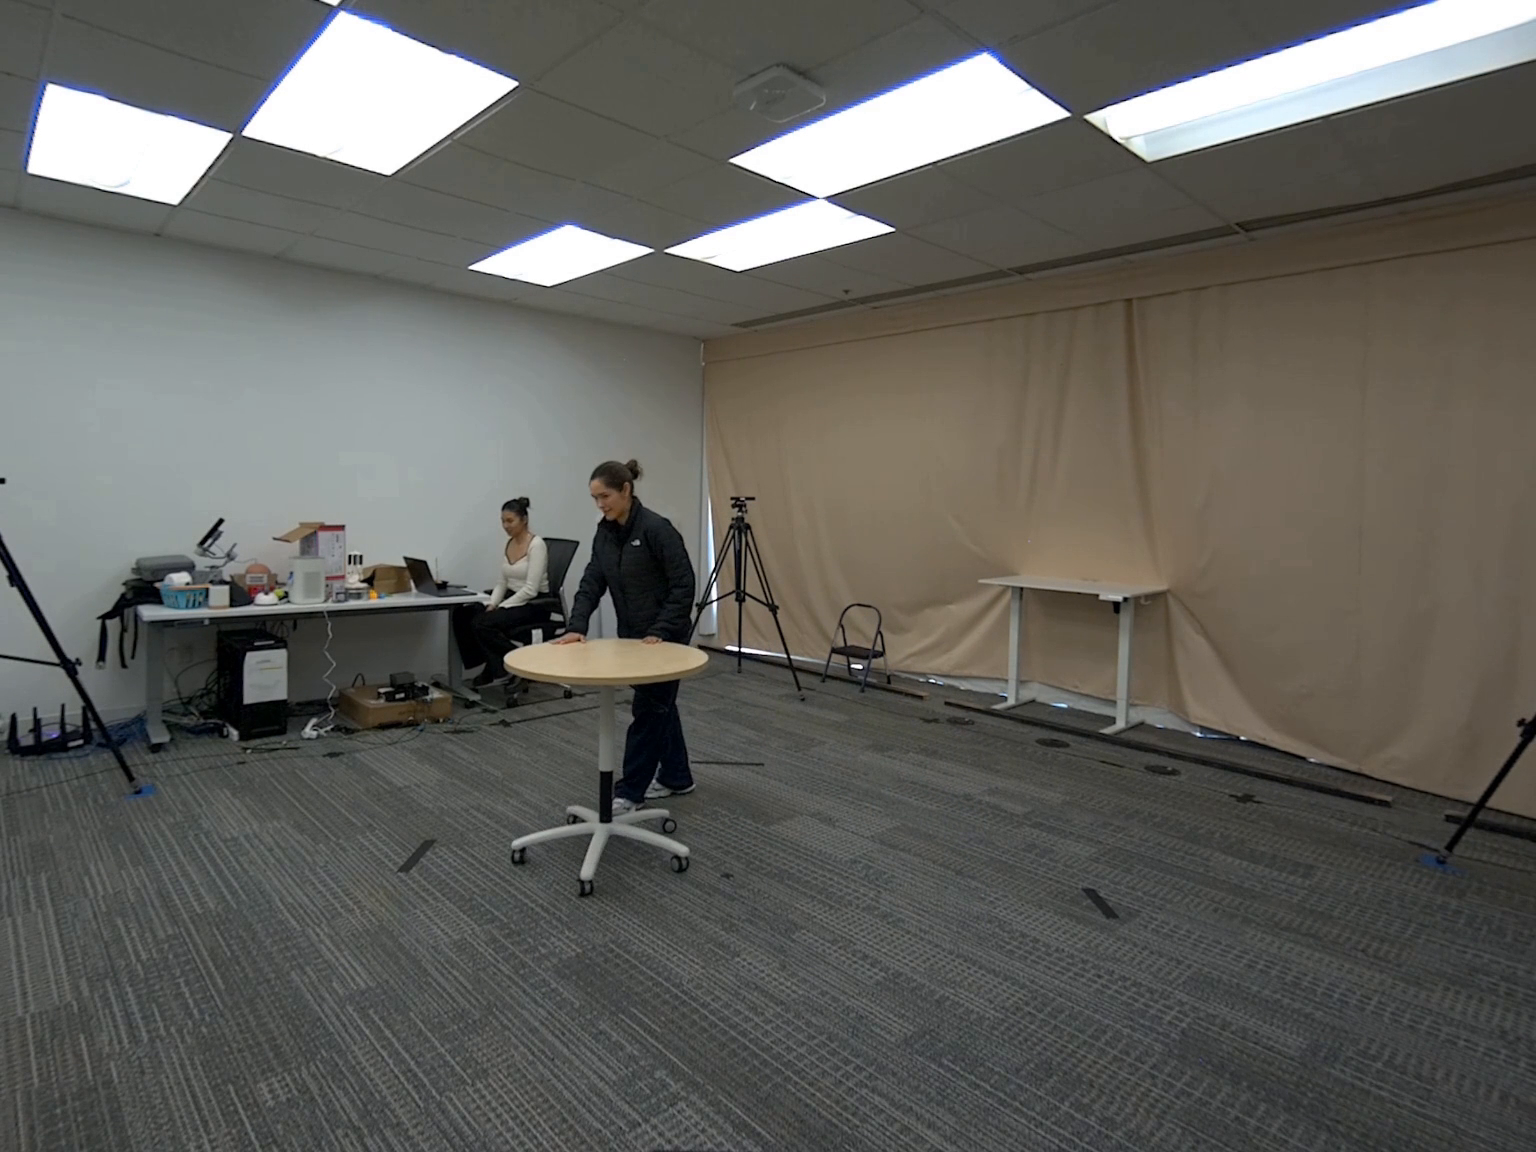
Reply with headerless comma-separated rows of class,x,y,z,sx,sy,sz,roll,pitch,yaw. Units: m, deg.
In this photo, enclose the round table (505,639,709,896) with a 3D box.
round table,-0.627,0.696,3.219,0.784,0.784,0.787,1,4,-1
